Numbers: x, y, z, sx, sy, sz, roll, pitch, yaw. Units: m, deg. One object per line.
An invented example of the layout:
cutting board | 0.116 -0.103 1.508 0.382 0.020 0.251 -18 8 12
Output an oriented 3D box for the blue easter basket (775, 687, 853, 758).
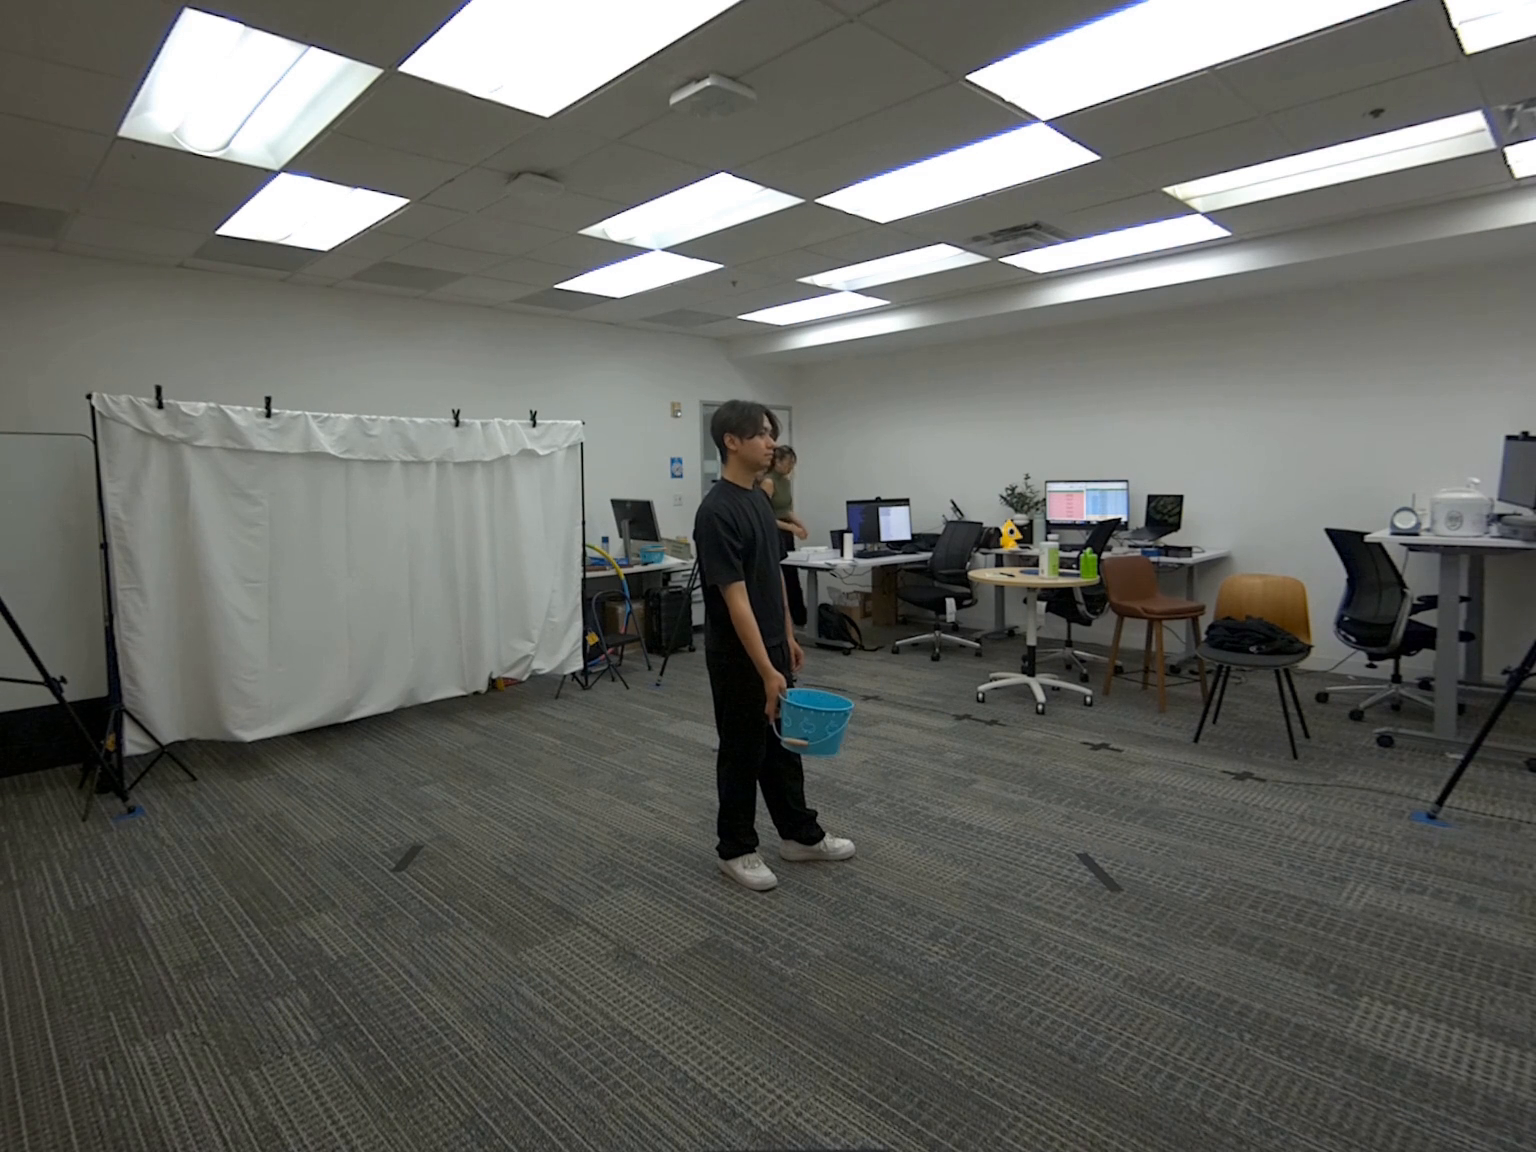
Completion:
blue easter basket | 0.133 0.456 2.632 0.243 0.155 0.245 7 5 -2
